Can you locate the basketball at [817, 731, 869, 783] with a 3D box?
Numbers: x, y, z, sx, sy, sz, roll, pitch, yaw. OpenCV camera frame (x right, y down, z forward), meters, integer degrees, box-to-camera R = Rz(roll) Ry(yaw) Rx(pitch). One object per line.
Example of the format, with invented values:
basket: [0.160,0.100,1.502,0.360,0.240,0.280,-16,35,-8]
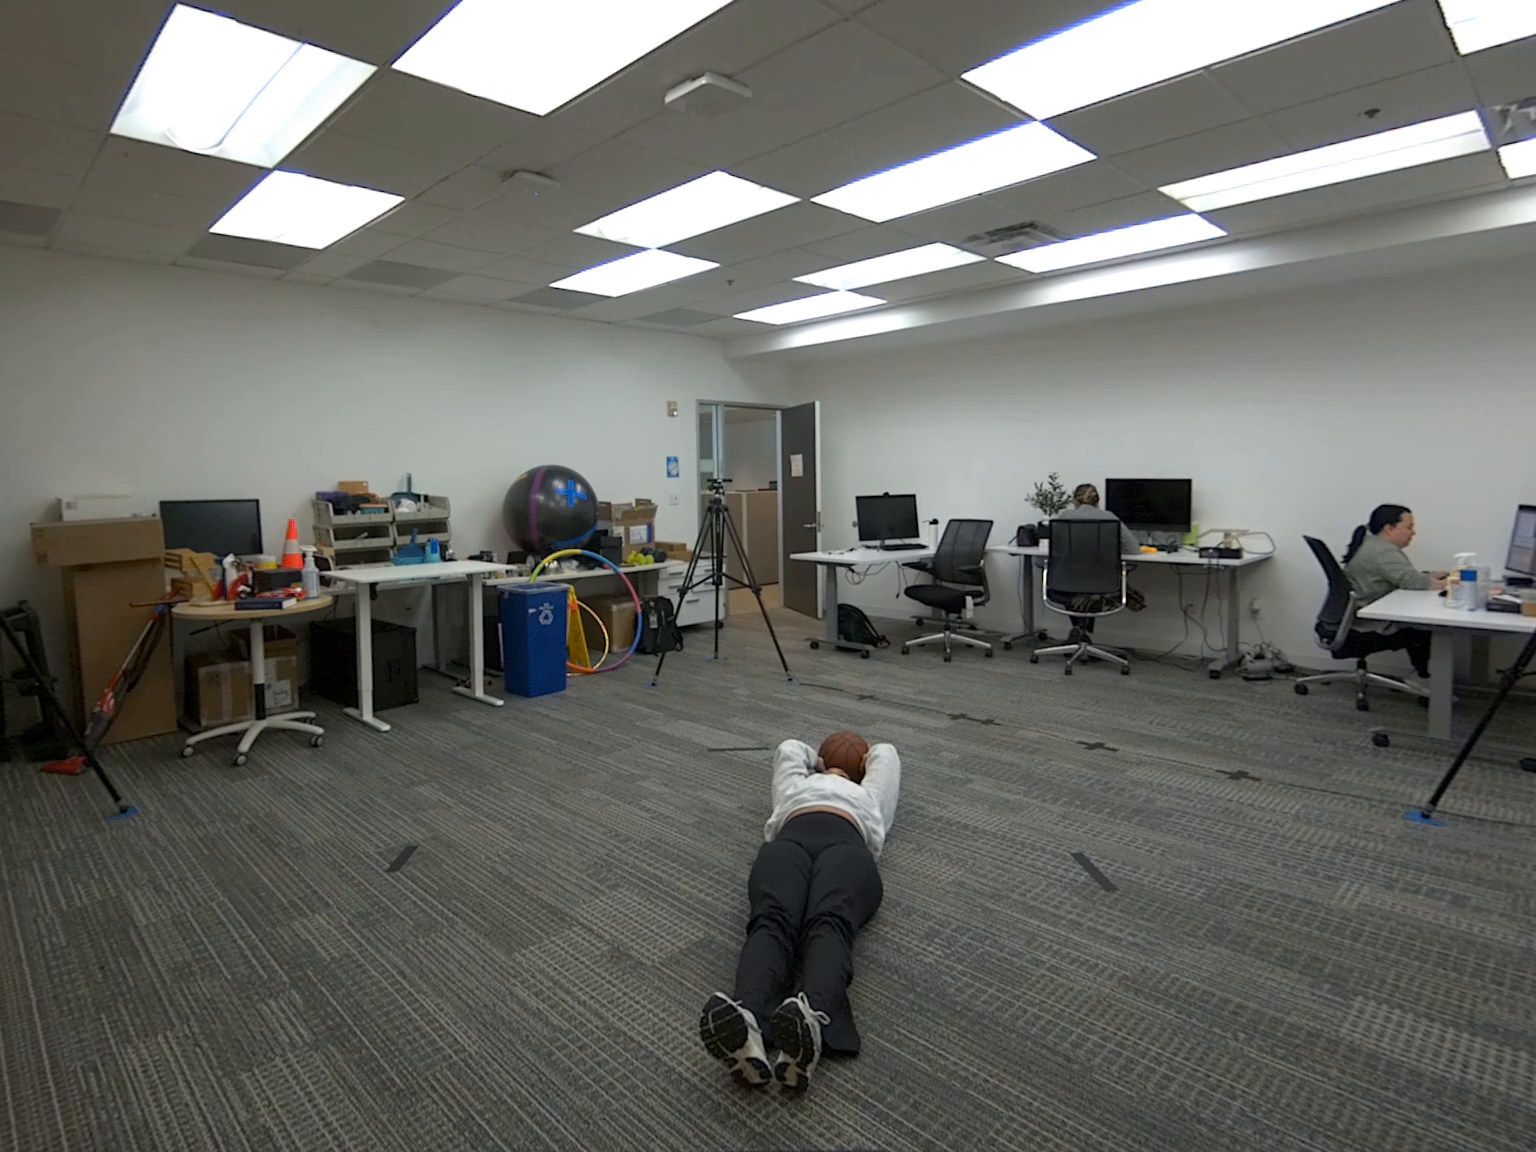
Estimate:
basketball: [0.341,0.809,3.796,0.236,0.235,0.237,-1,4,-2]
